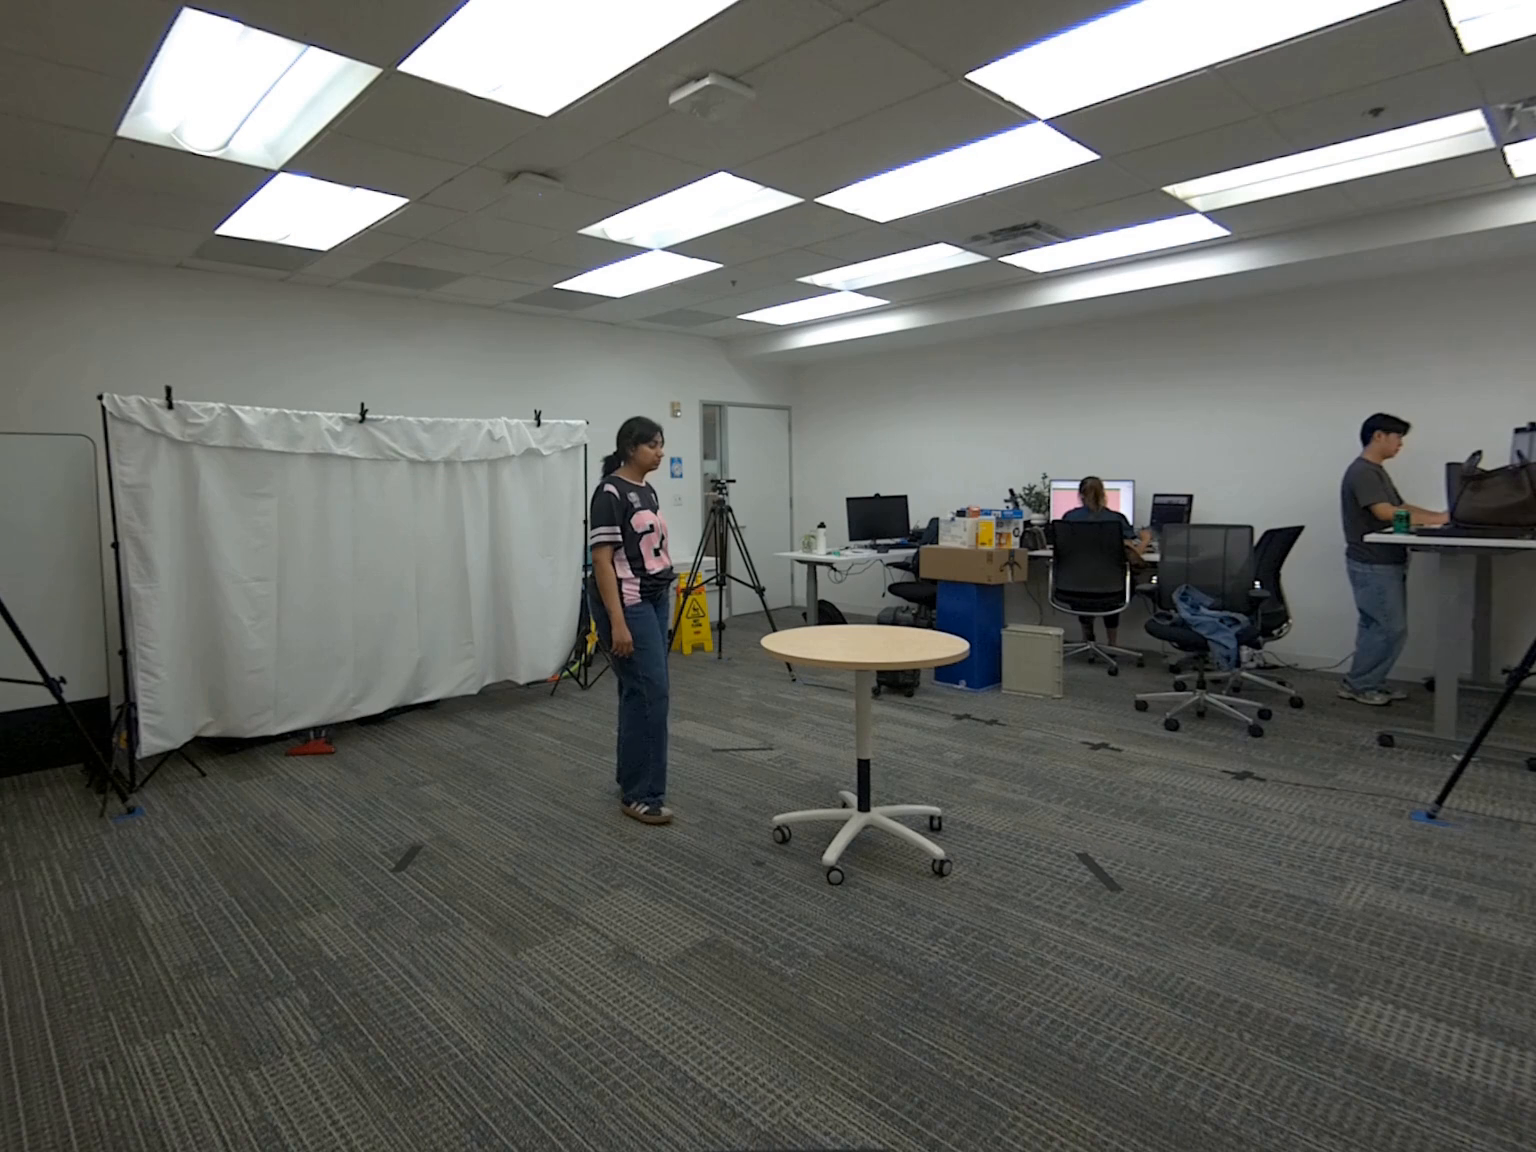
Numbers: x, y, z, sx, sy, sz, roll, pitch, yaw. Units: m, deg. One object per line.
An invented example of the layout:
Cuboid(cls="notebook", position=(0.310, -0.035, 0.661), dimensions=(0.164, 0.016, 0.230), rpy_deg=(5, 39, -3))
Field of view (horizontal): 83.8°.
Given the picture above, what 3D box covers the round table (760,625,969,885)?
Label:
Cuboid(cls="round table", position=(0.365, 0.640, 3.207), dimensions=(0.763, 0.791, 0.767), rpy_deg=(-1, 4, -2))
